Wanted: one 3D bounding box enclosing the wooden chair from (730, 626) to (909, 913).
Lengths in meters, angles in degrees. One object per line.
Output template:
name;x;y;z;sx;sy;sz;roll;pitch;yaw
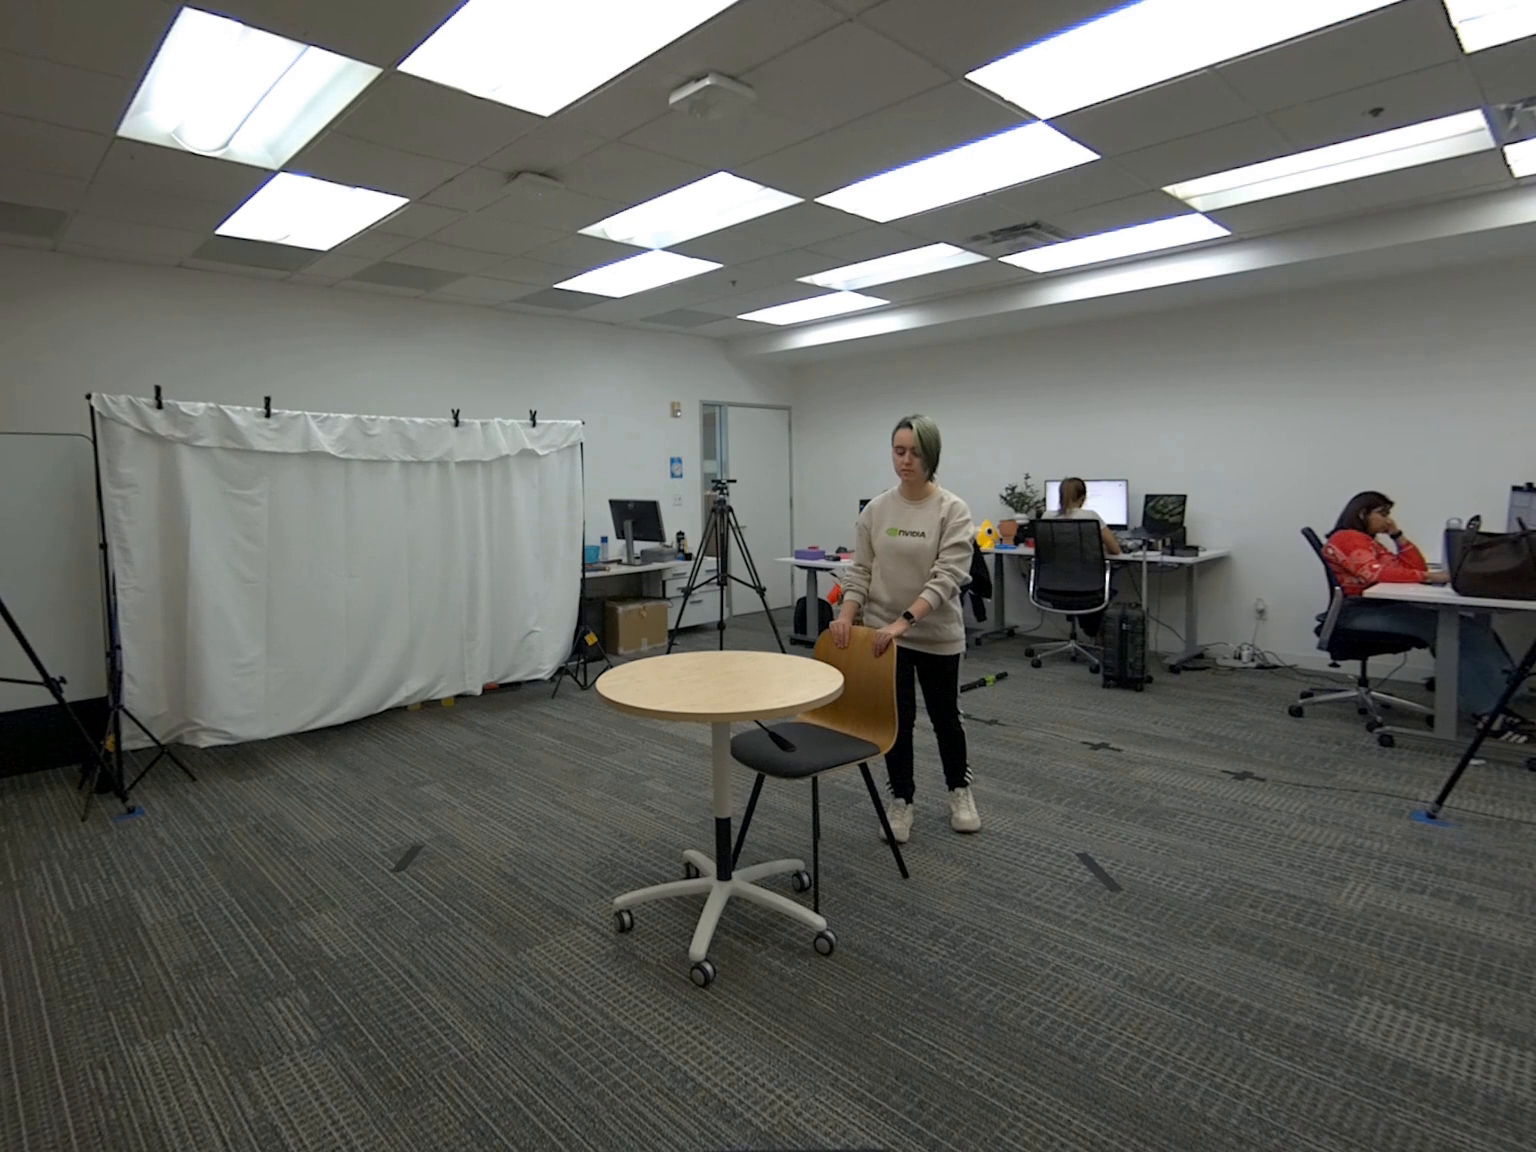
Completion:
wooden chair;0.163;0.631;2.974;0.508;0.876;0.492;1;2;-39
